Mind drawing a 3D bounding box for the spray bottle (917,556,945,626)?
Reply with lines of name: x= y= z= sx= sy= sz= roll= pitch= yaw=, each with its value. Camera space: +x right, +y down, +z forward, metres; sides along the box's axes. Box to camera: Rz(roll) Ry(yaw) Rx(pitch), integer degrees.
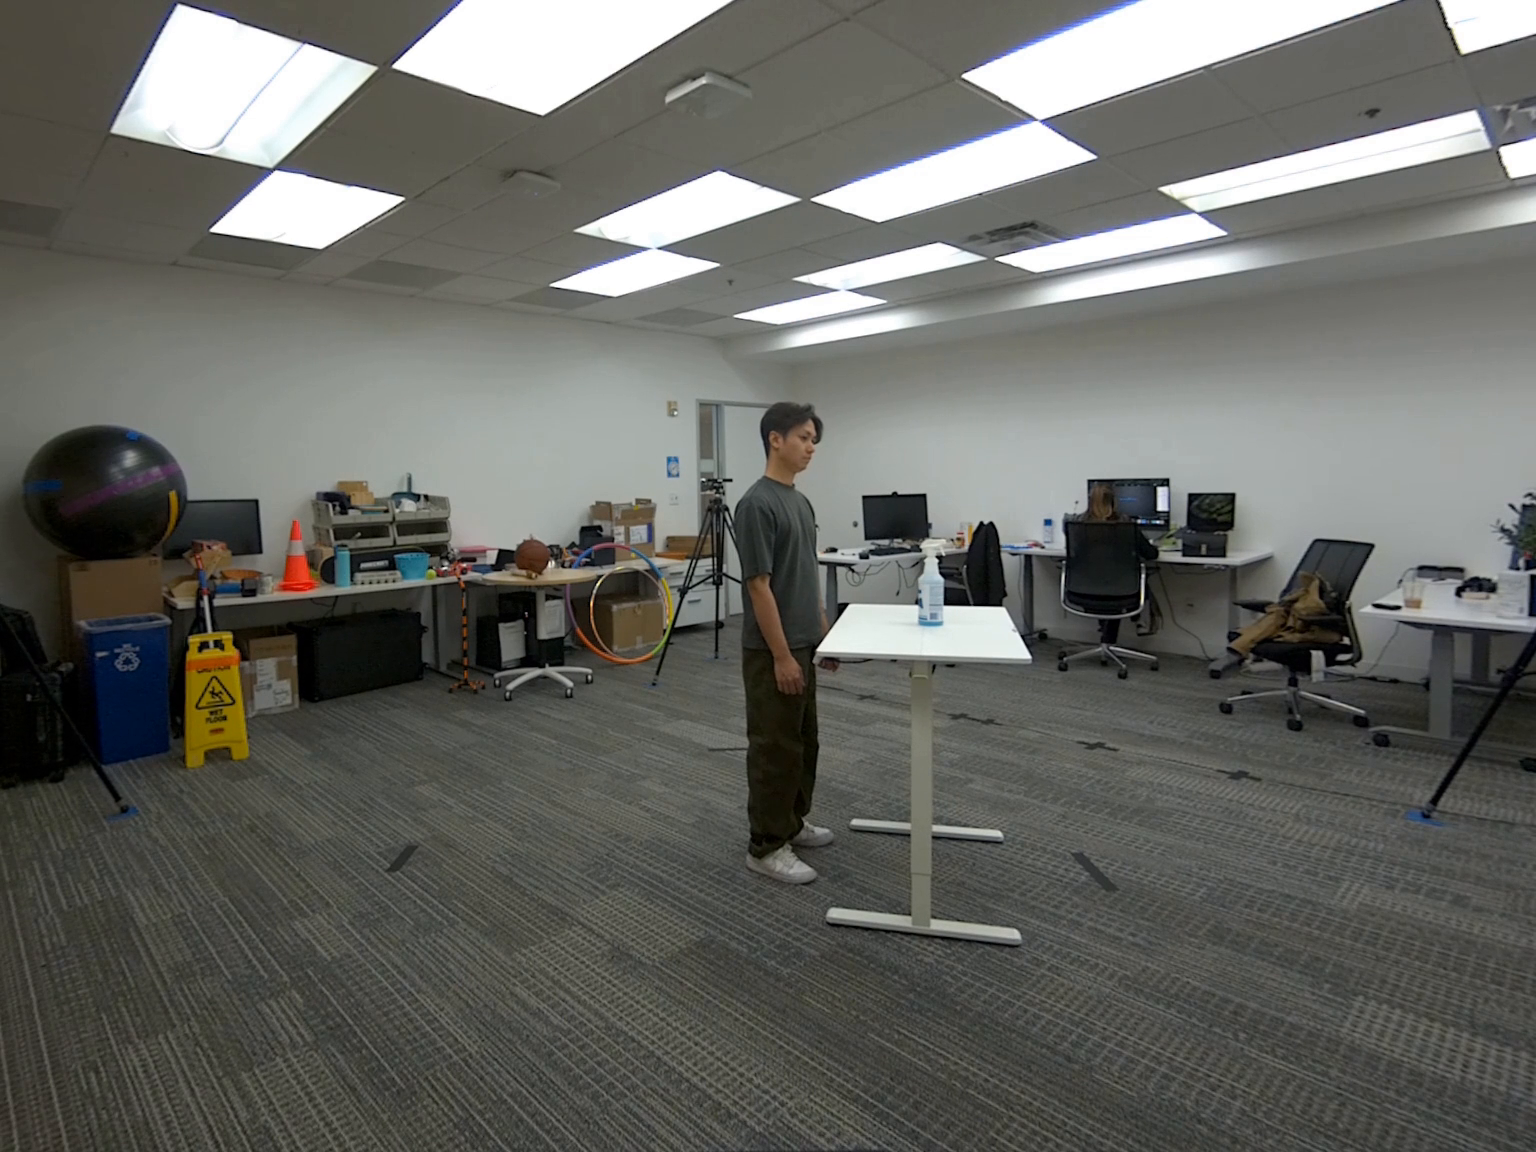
spray bottle: x=0.565 y=0.022 z=2.960 sx=0.085 sy=0.297 sz=0.092 roll=-1 pitch=2 yaw=-30
